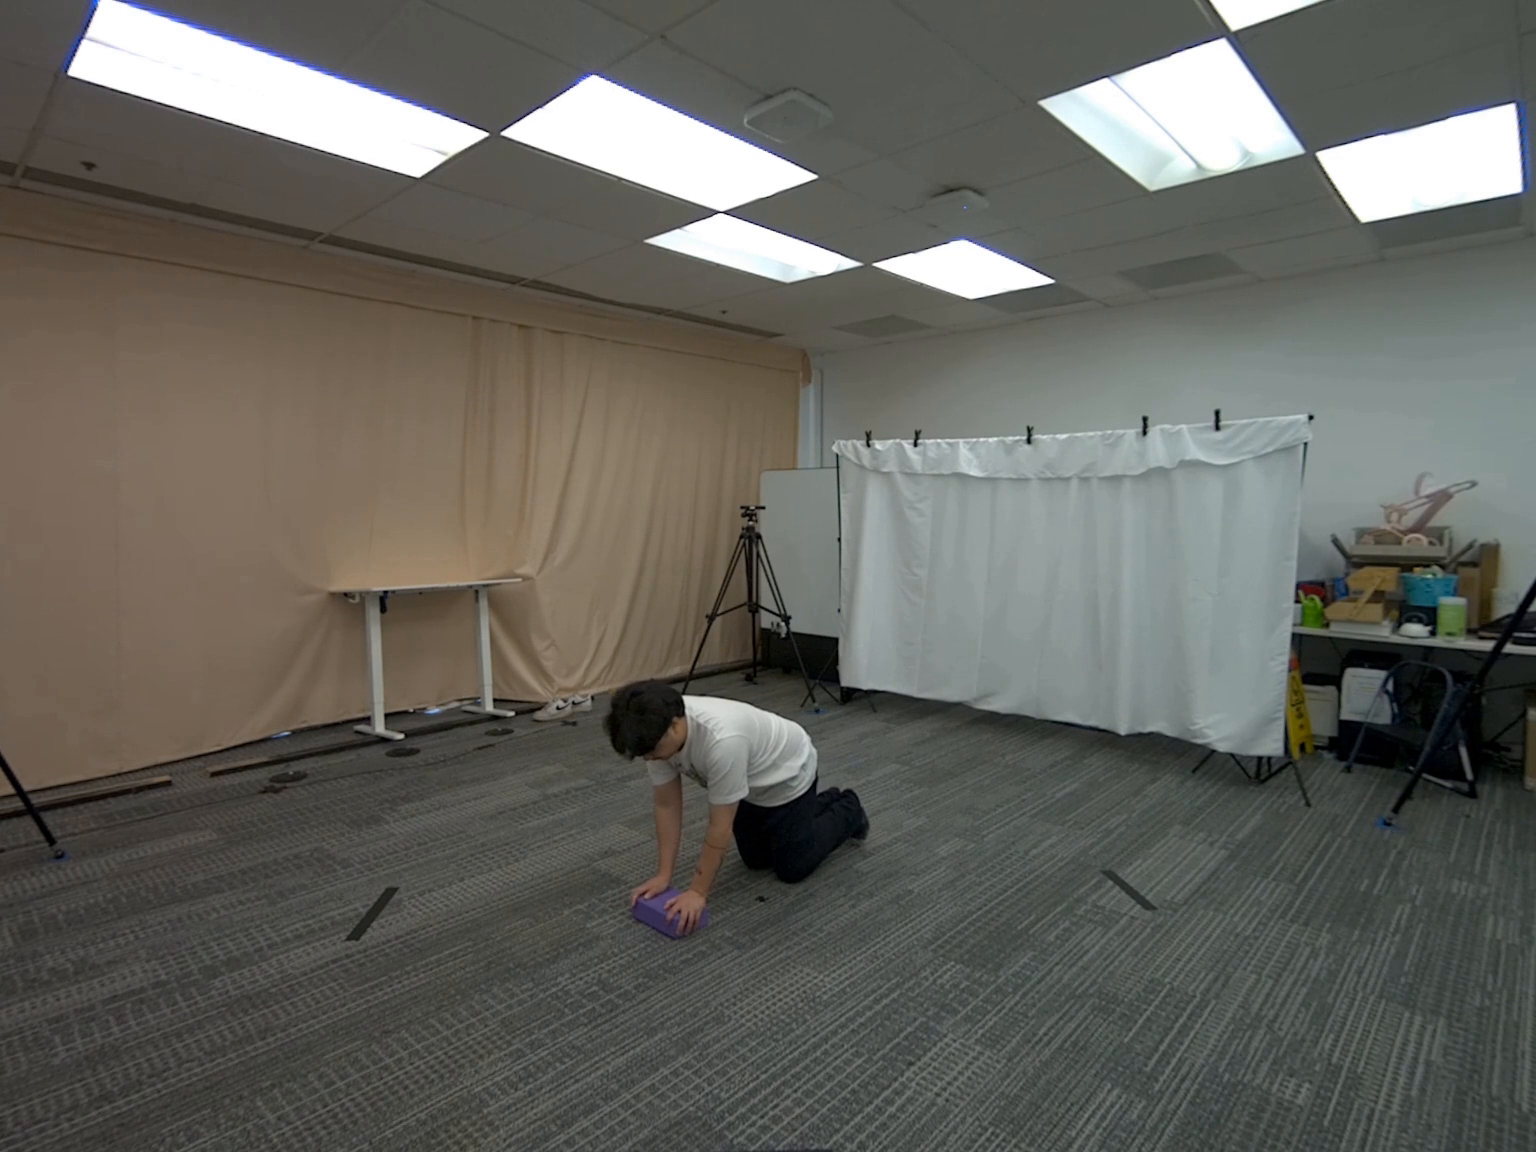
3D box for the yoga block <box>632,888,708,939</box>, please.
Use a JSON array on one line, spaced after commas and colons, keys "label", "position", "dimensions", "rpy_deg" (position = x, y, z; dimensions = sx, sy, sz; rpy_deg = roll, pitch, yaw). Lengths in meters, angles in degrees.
[{"label": "yoga block", "position": [-0.328, 1.122, 2.824], "dimensions": [0.237, 0.076, 0.144], "rpy_deg": [5, 9, 41]}]
